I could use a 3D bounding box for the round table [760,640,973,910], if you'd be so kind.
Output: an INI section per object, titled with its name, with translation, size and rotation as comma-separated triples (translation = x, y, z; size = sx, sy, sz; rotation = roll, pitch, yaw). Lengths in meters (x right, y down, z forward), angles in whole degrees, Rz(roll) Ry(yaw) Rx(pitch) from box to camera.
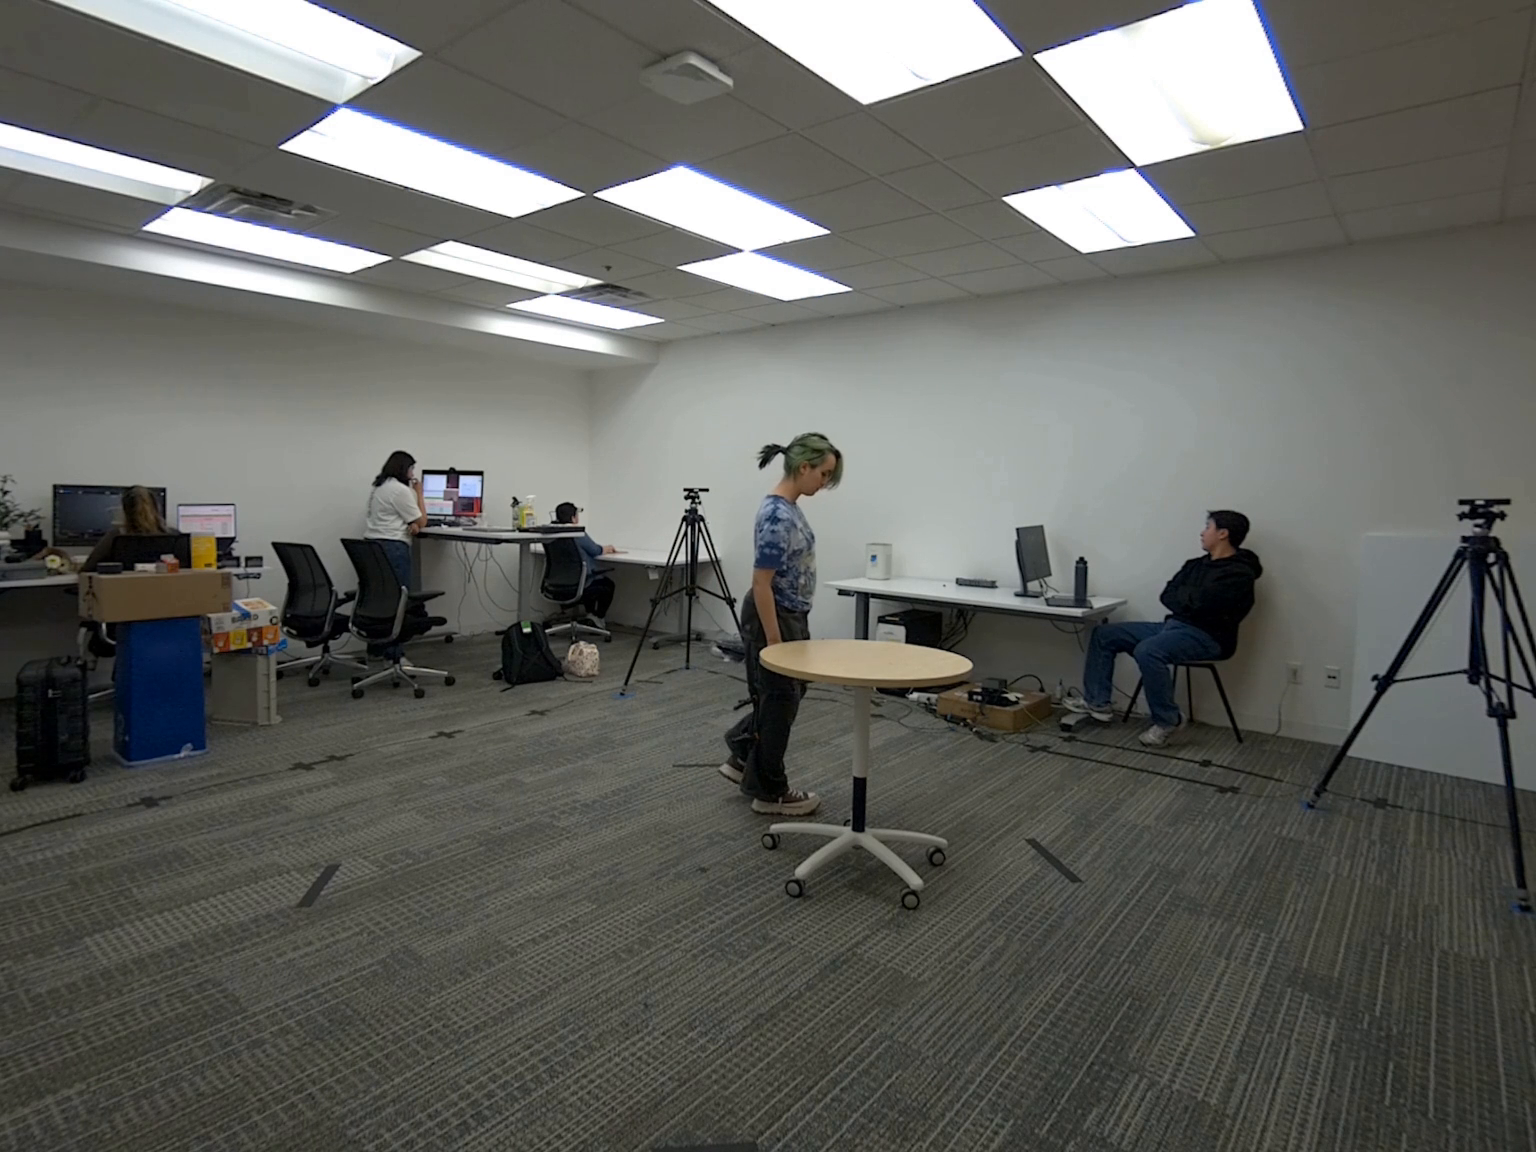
[round table]
translation = 0.330, 0.689, 3.140
size = 0.763, 0.791, 0.768
rotation = 1, 4, -2
